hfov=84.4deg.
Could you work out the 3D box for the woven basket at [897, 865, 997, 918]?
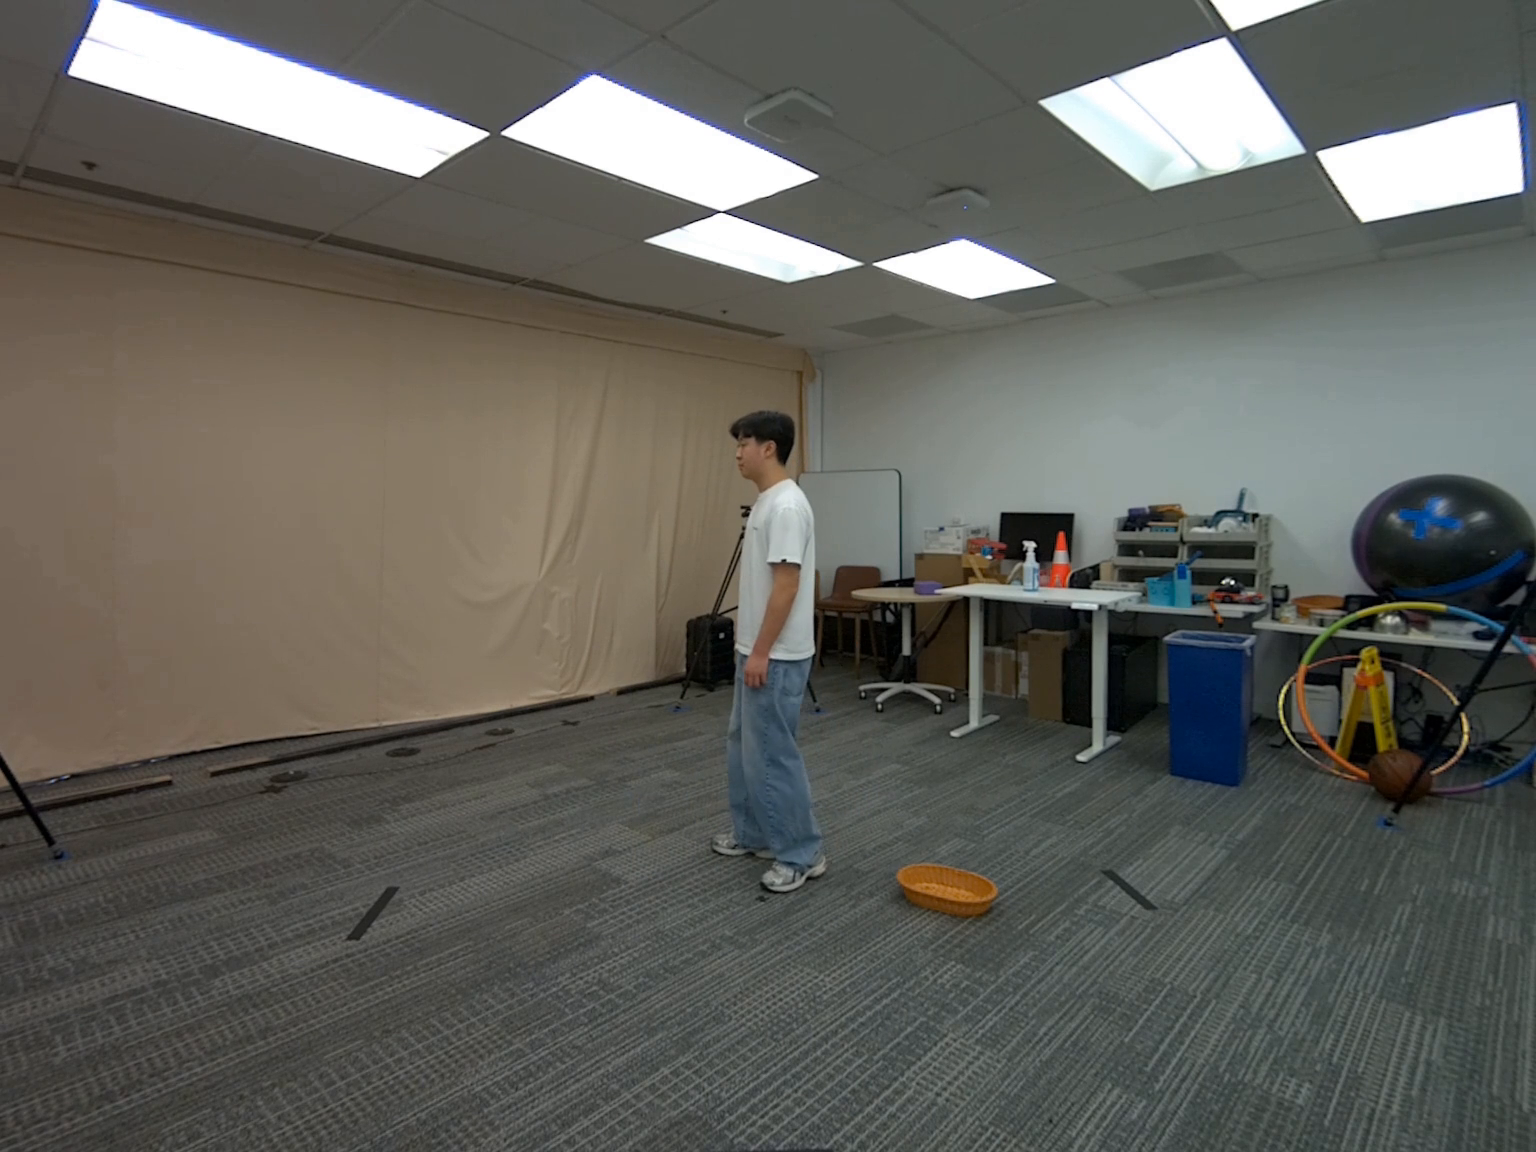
[{"bbox_3d":[0.627,1.104,2.956,0.361,0.073,0.245,2,5,32],"label":"woven basket"}]
